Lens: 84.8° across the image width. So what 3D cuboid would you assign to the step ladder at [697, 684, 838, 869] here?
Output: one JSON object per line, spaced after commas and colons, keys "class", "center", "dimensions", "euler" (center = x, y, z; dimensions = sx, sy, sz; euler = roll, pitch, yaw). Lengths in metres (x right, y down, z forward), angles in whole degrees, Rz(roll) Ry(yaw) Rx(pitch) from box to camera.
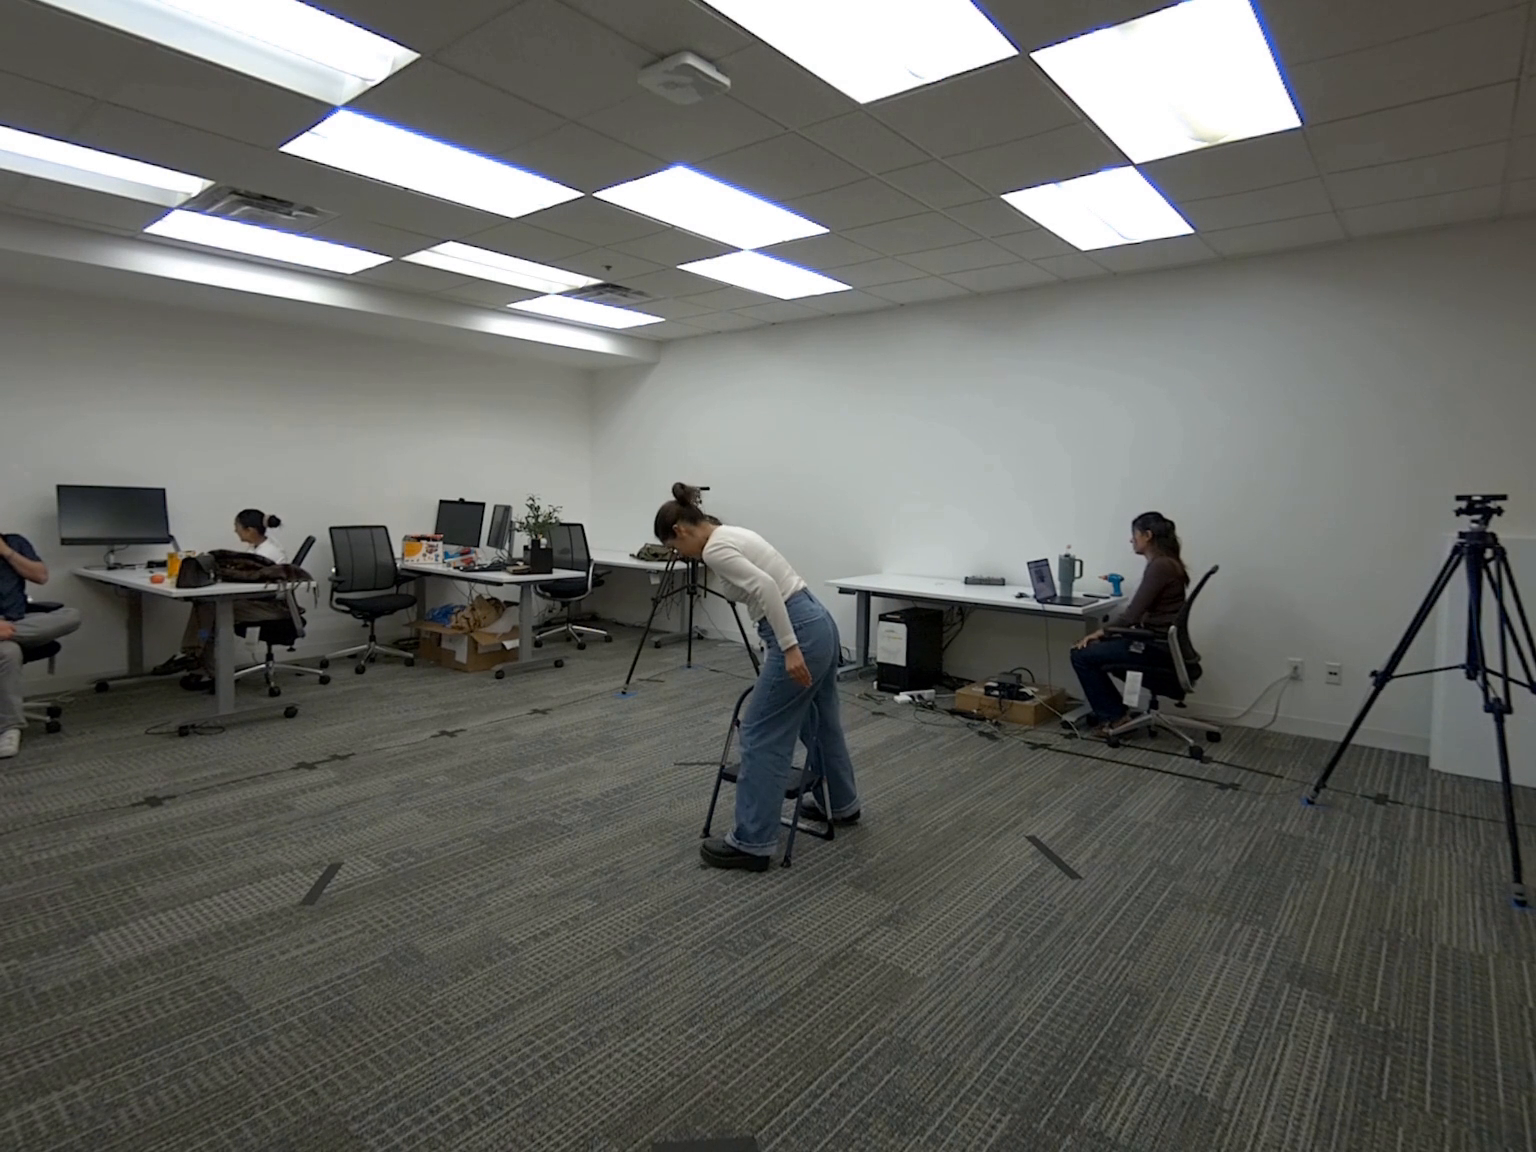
{"class": "step ladder", "center": [-0.001, 0.740, 3.376], "dimensions": [0.445, 0.604, 0.339], "euler": [4, 5, 38]}
